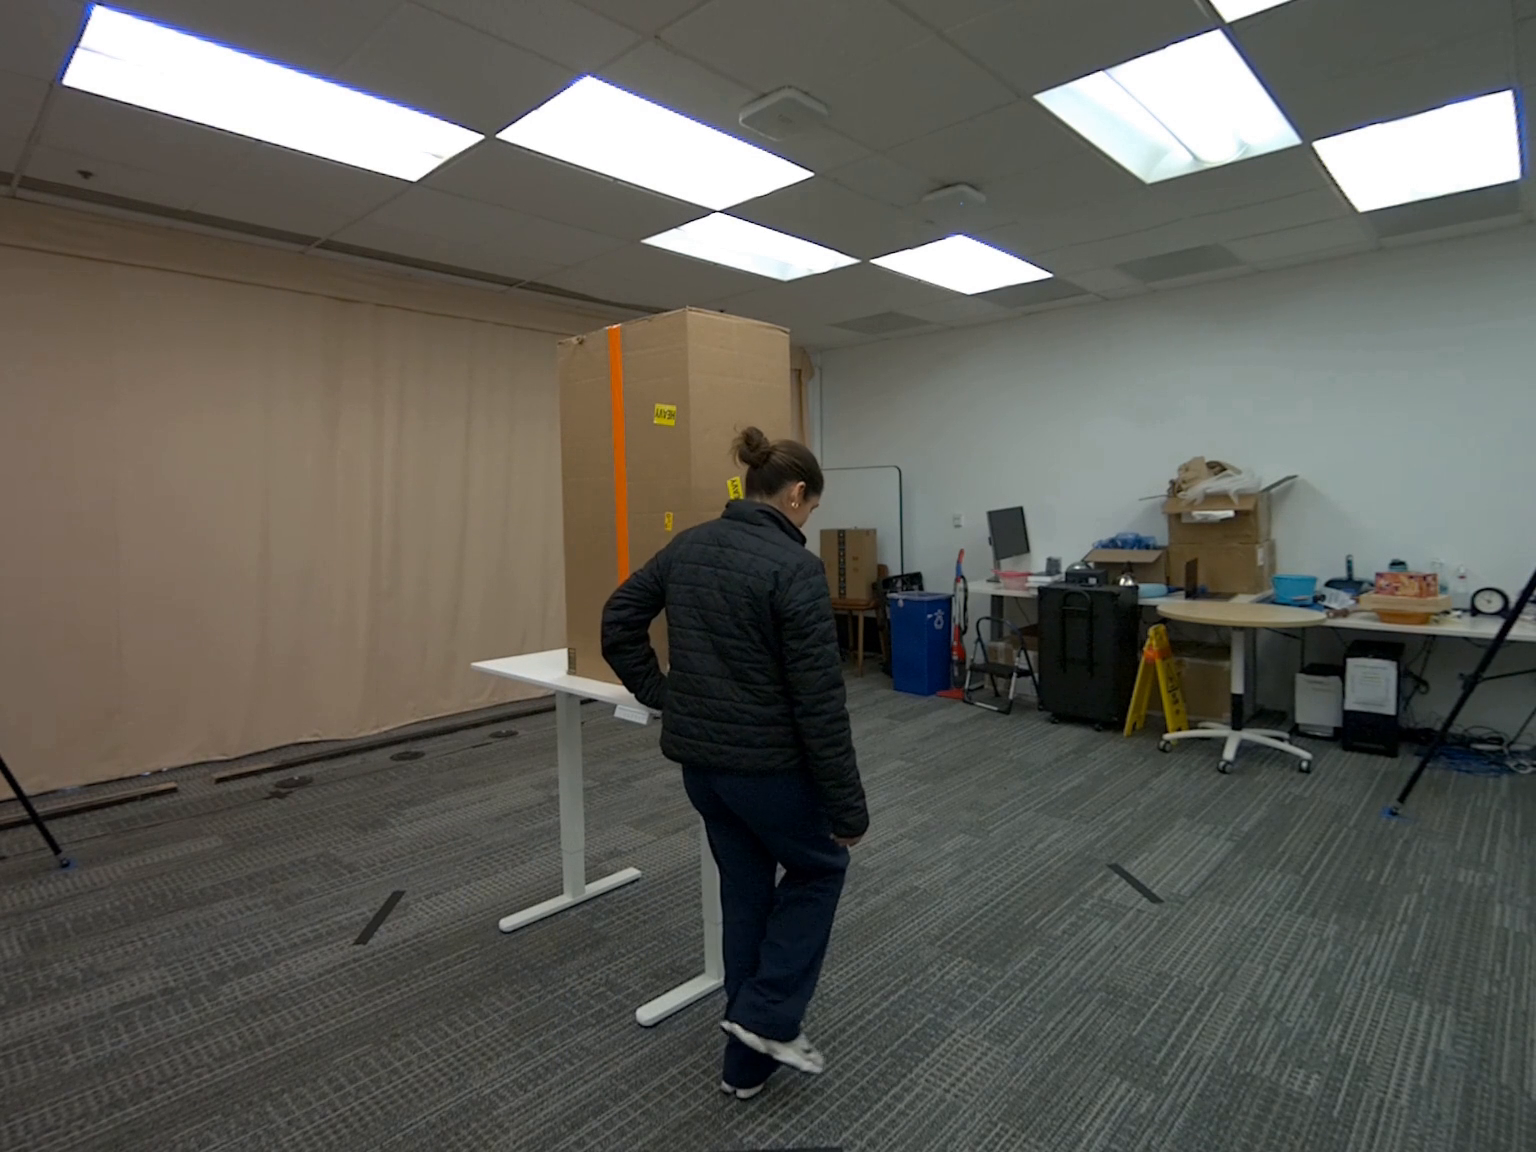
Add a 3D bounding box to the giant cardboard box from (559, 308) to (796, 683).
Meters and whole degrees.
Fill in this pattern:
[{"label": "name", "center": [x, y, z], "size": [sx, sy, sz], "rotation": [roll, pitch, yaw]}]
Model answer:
[{"label": "giant cardboard box", "center": [-0.267, -0.207, 2.531], "size": [0.596, 1.024, 0.413], "rotation": [2, 4, 42]}]
